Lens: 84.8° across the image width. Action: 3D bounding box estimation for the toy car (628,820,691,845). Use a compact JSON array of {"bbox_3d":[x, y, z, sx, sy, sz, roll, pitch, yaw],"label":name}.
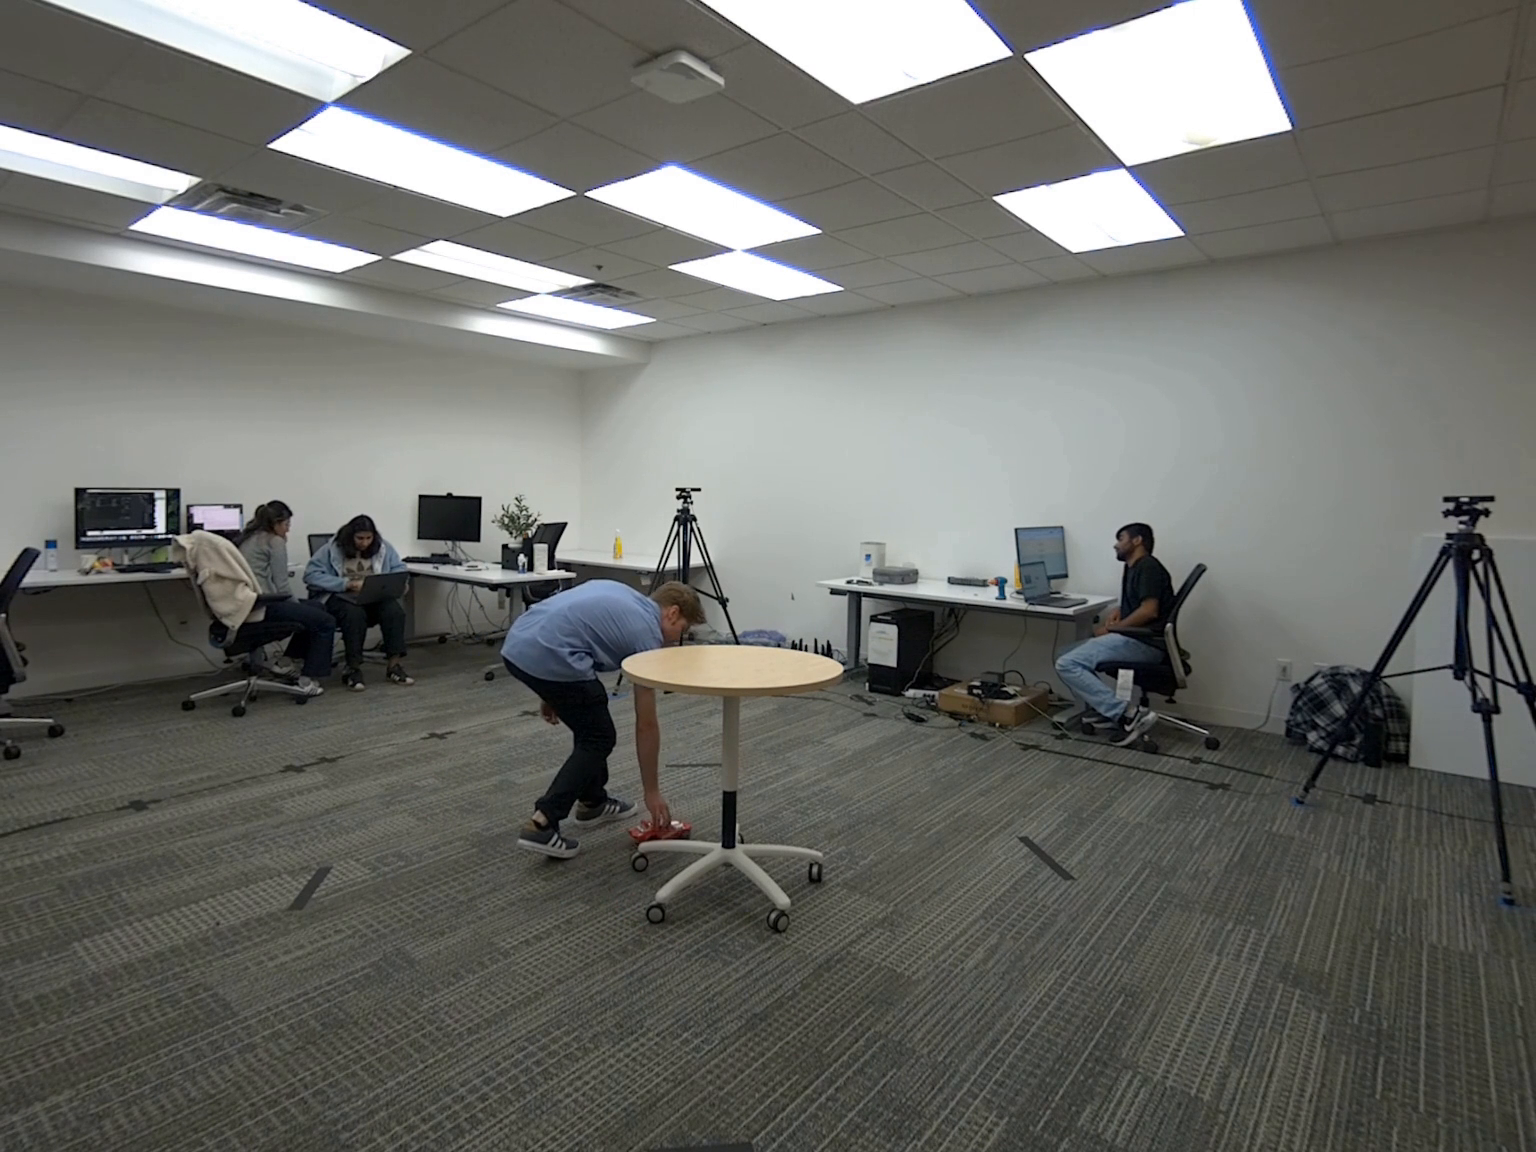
[{"bbox_3d":[-0.444,1.013,3.360,0.247,0.083,0.134,9,-2,-30],"label":"toy car"}]
